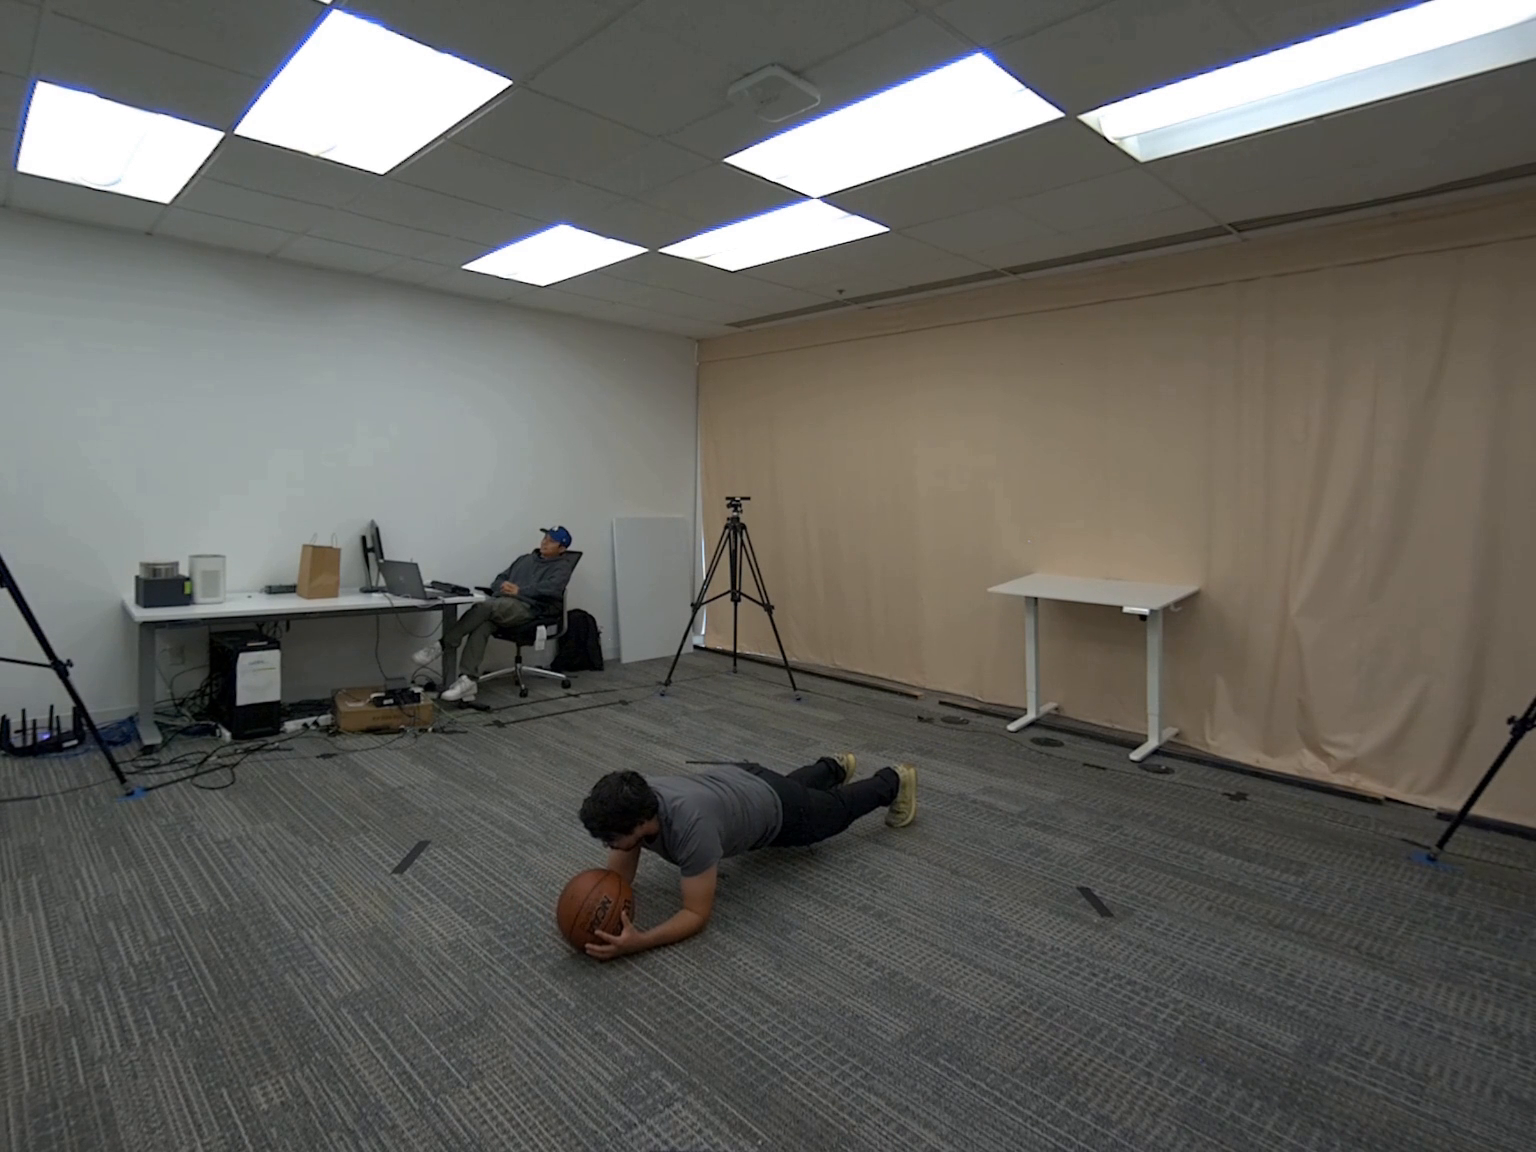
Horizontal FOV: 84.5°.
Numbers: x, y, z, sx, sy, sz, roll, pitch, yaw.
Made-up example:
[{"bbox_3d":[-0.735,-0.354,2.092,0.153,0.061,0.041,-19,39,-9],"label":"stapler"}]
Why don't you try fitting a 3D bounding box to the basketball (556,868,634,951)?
[{"bbox_3d":[-0.542,1.029,2.585,0.236,0.235,0.237,1,4,-1],"label":"basketball"}]
